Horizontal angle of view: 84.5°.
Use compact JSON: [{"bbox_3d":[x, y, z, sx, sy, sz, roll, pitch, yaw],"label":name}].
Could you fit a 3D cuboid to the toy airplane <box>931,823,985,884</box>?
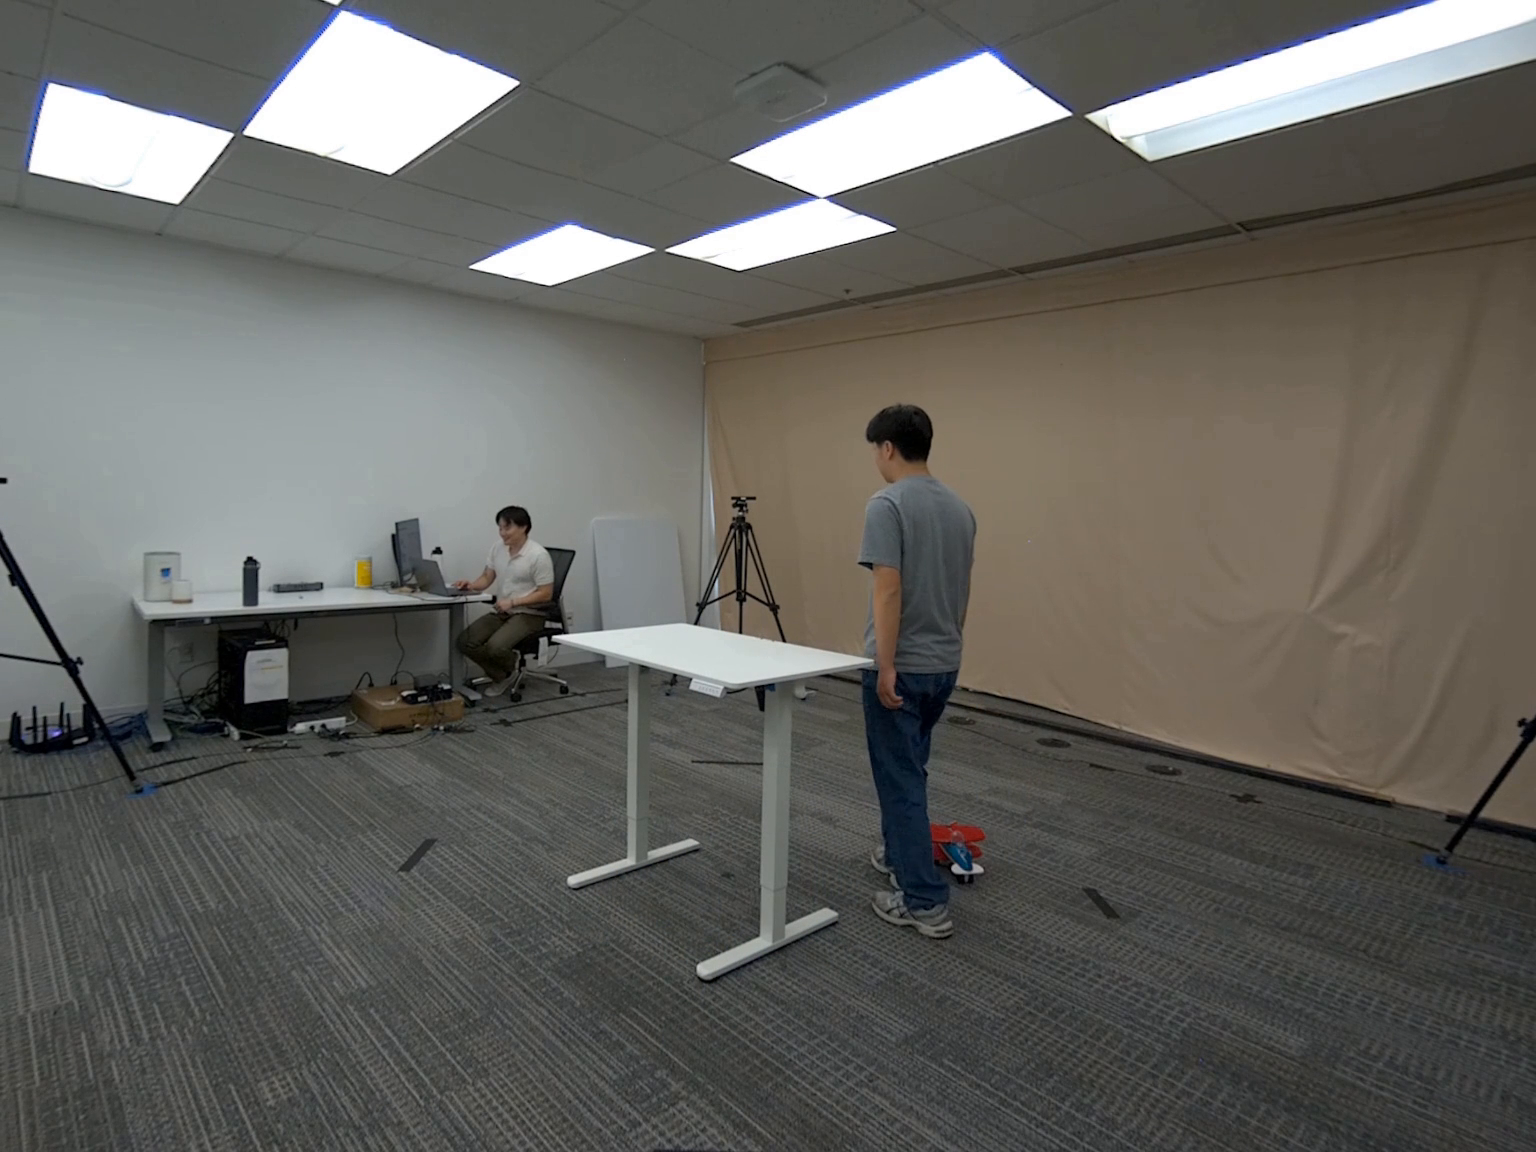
[{"bbox_3d":[0.723,1.048,3.187,0.245,0.156,0.266,-2,5,-40],"label":"toy airplane"}]
